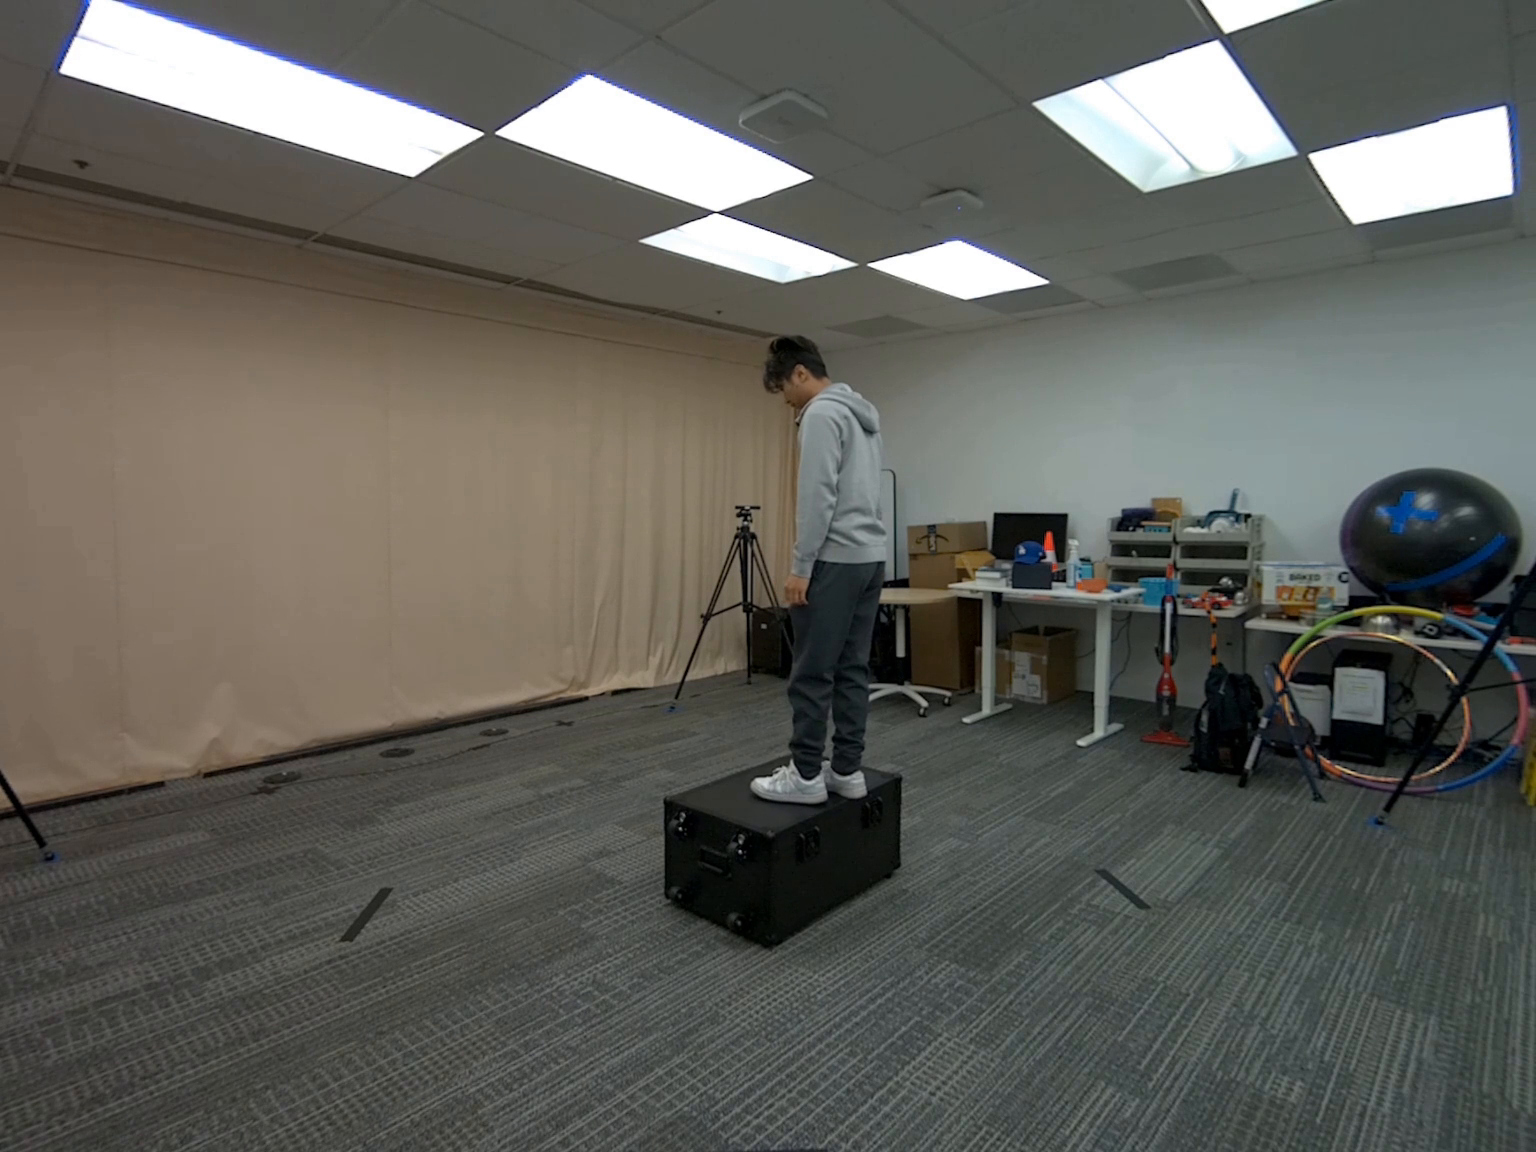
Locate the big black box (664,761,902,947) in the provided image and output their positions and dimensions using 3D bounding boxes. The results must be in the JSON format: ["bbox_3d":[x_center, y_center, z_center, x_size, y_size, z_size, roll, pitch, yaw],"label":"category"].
[{"bbox_3d":[0.050,0.949,3.034,0.539,0.395,0.835,4,6,41],"label":"big black box"}]
